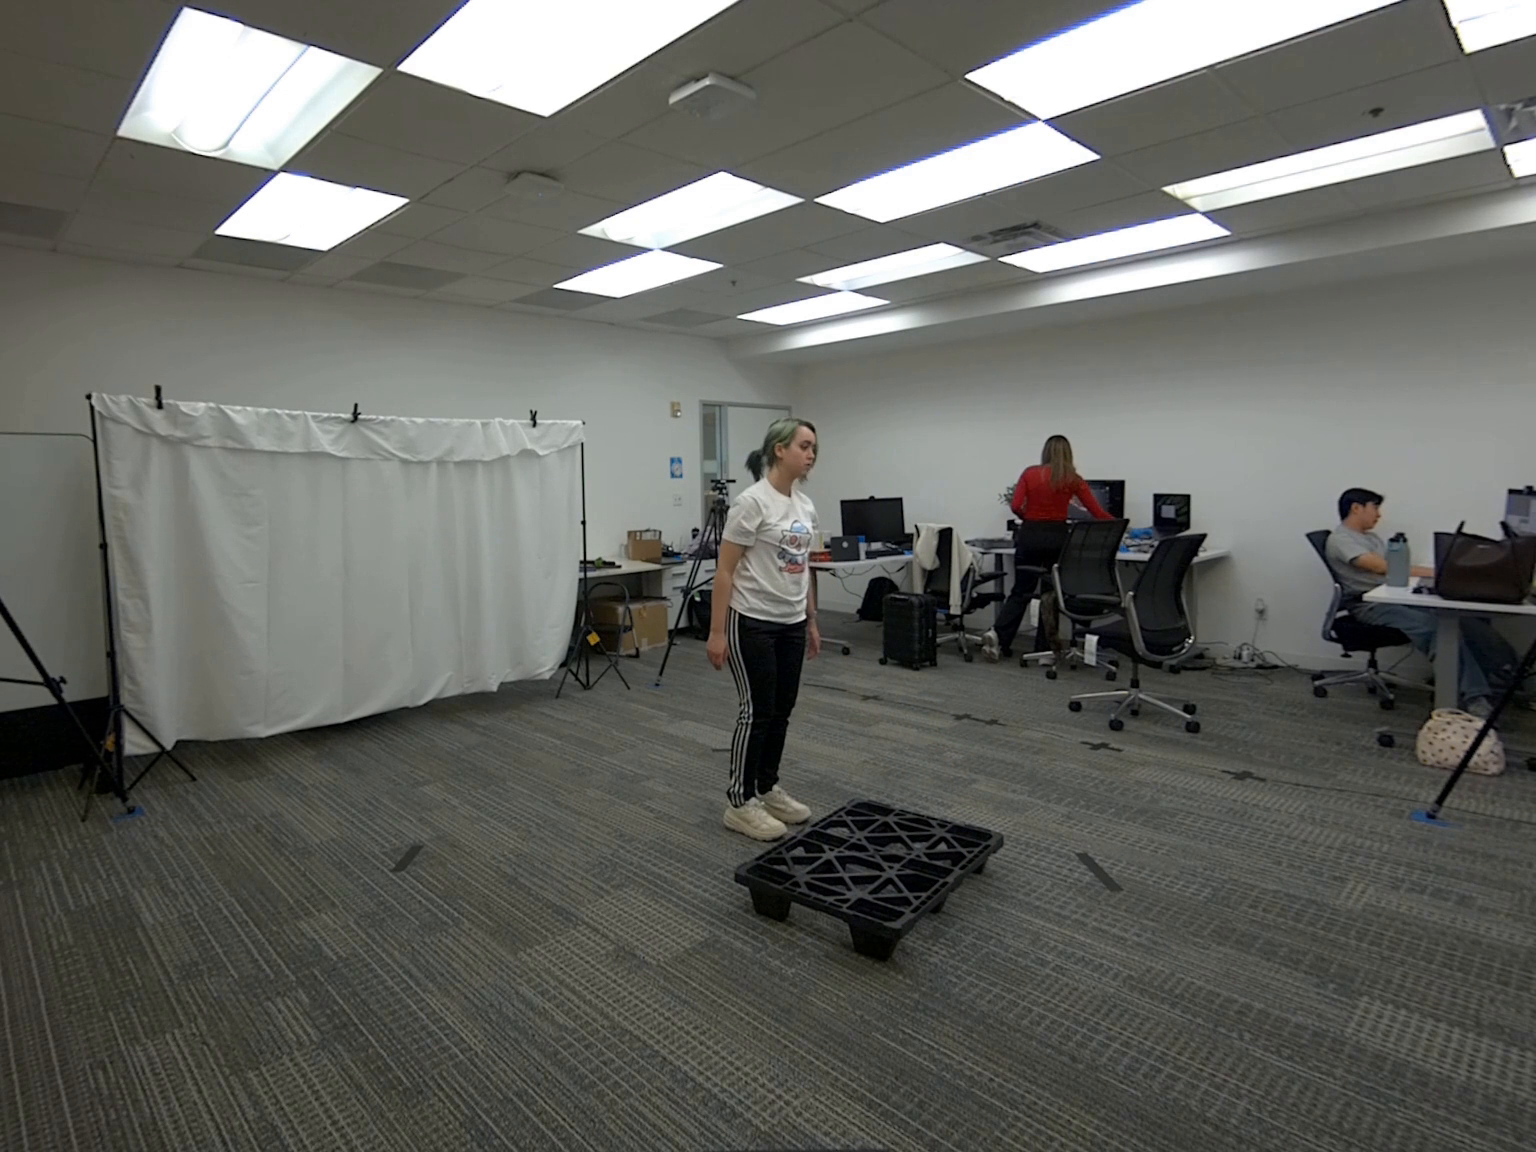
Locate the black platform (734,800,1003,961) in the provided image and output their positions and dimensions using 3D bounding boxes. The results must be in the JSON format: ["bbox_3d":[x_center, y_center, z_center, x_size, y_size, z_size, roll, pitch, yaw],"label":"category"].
[{"bbox_3d":[0.359,0.998,2.885,0.623,0.143,0.785,3,7,37],"label":"black platform"}]
